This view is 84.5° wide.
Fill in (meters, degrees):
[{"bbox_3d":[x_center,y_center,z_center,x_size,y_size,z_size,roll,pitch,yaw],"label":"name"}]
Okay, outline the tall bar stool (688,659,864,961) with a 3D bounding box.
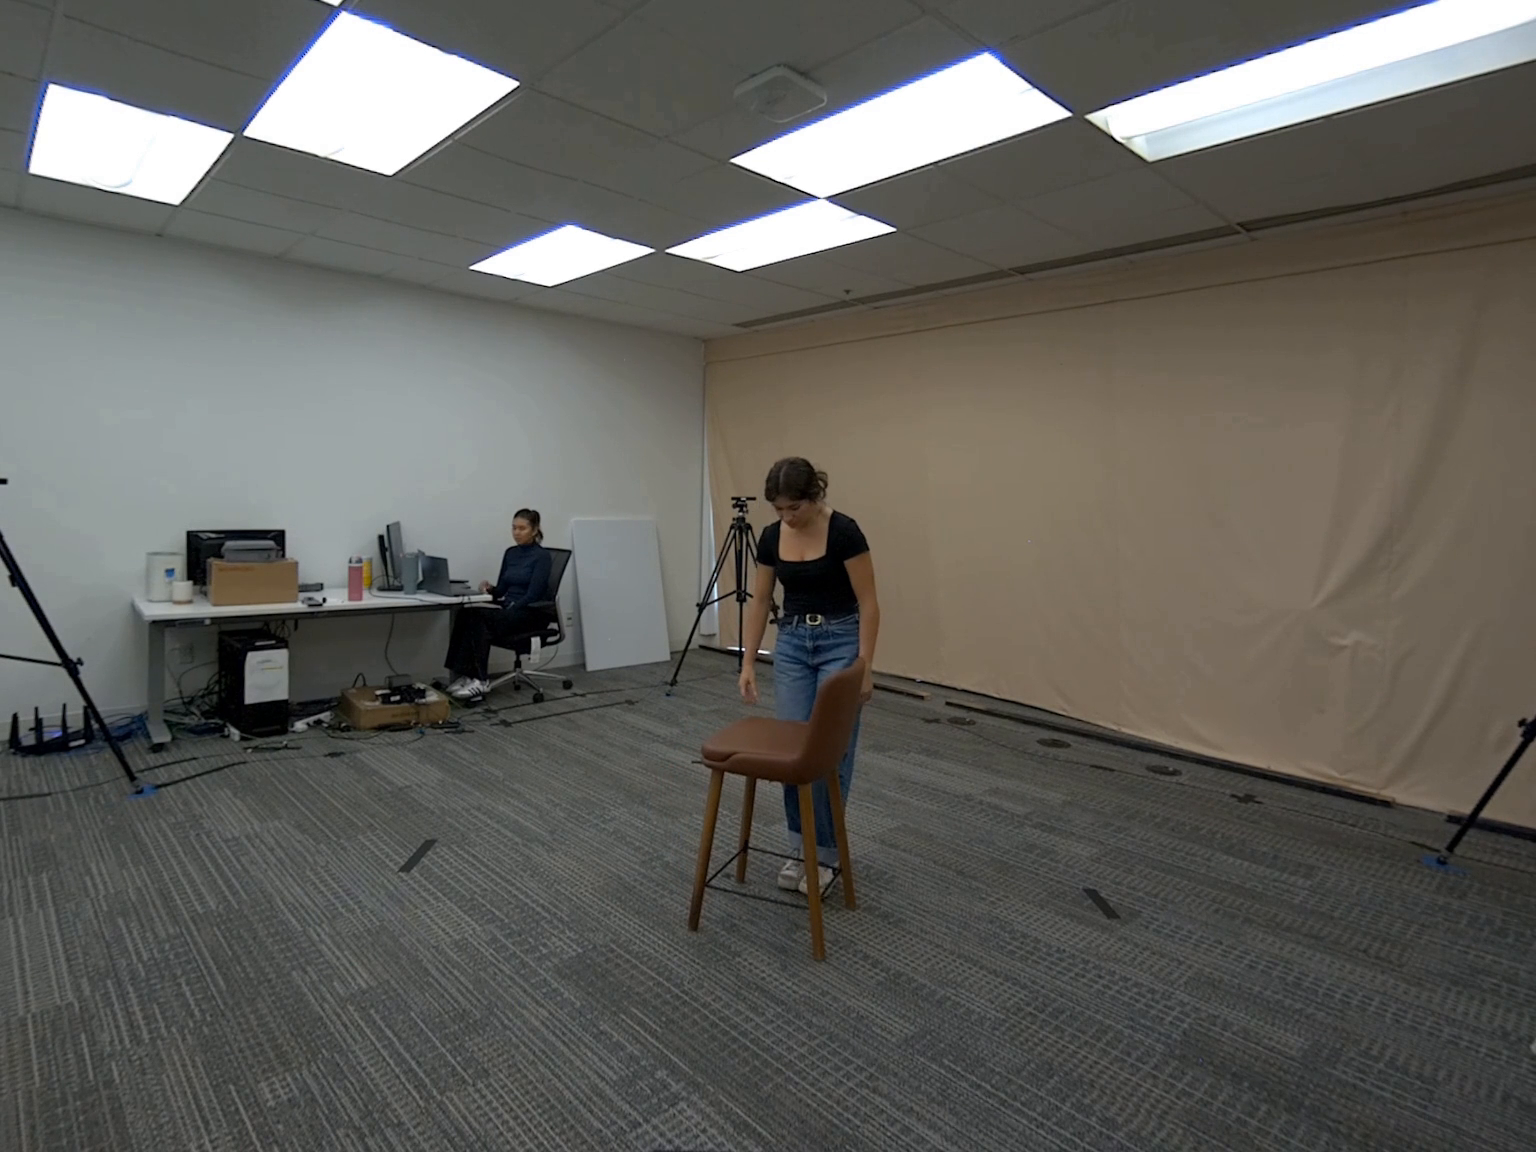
[{"bbox_3d":[0.034,0.710,2.766,0.476,0.887,0.449,4,5,24],"label":"tall bar stool"}]
